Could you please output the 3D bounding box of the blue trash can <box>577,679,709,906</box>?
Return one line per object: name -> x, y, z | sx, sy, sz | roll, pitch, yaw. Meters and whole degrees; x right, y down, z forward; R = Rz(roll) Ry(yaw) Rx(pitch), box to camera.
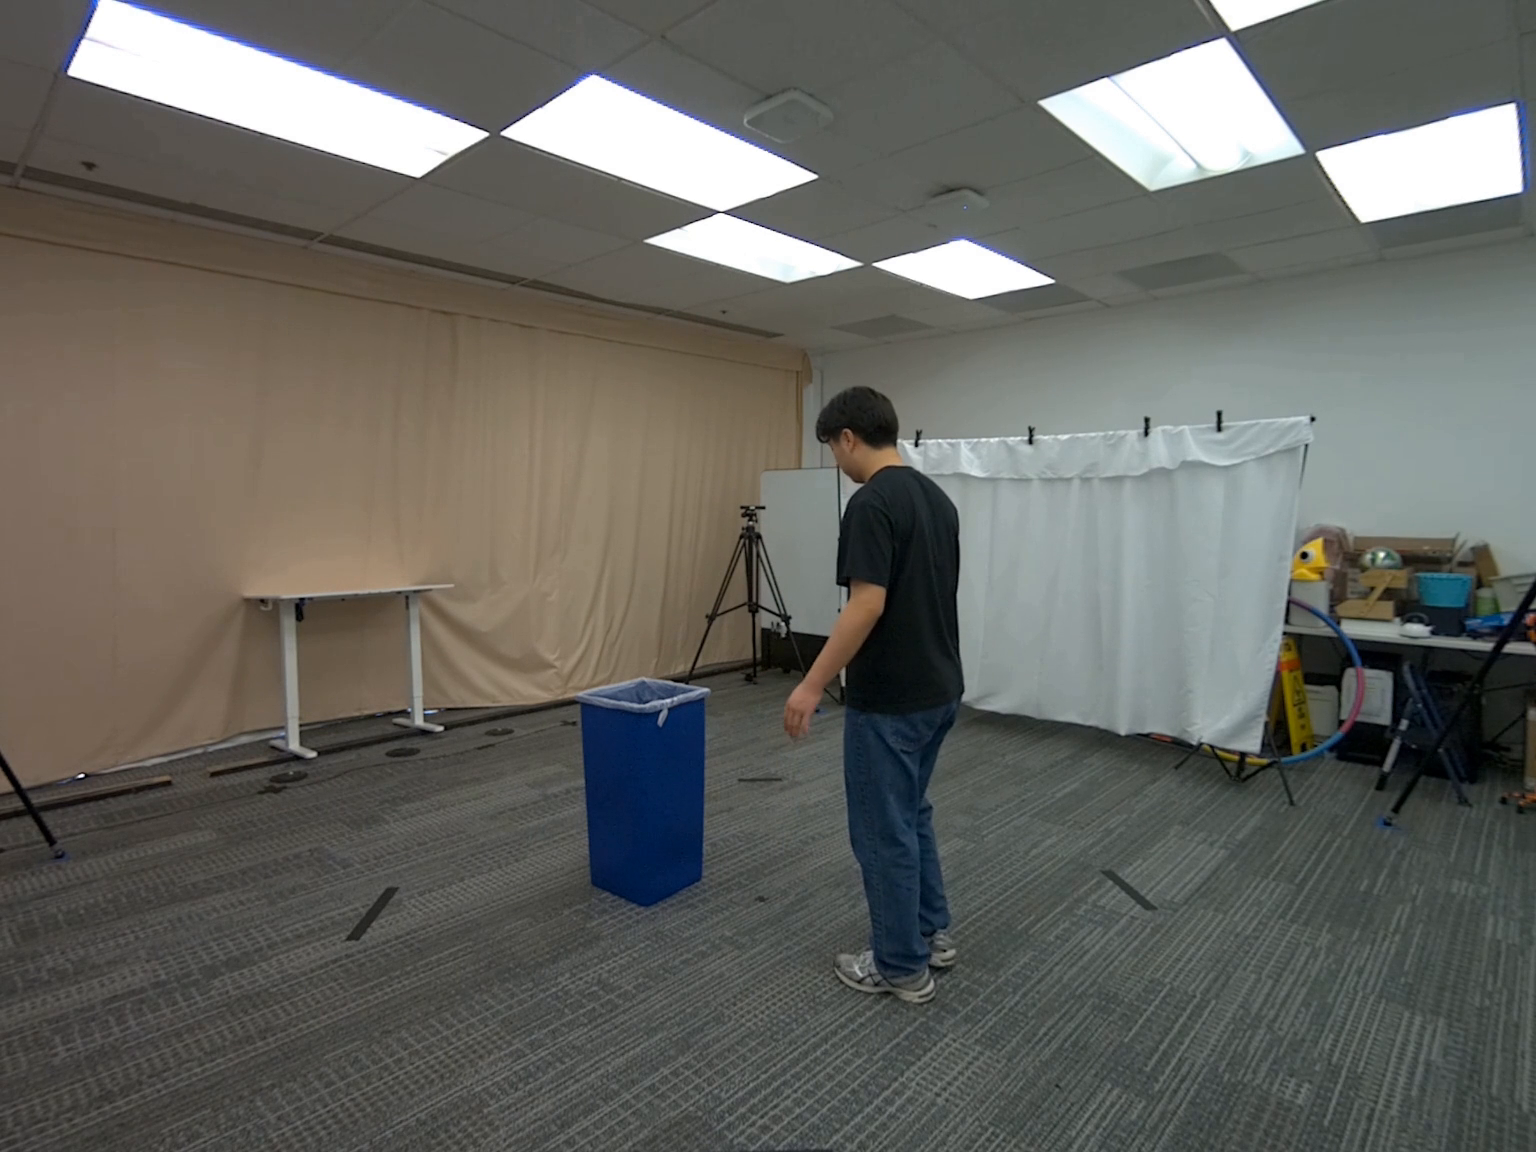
blue trash can -> -0.461, 0.778, 3.113 | 0.386, 0.712, 0.366 | 2, 4, 39
